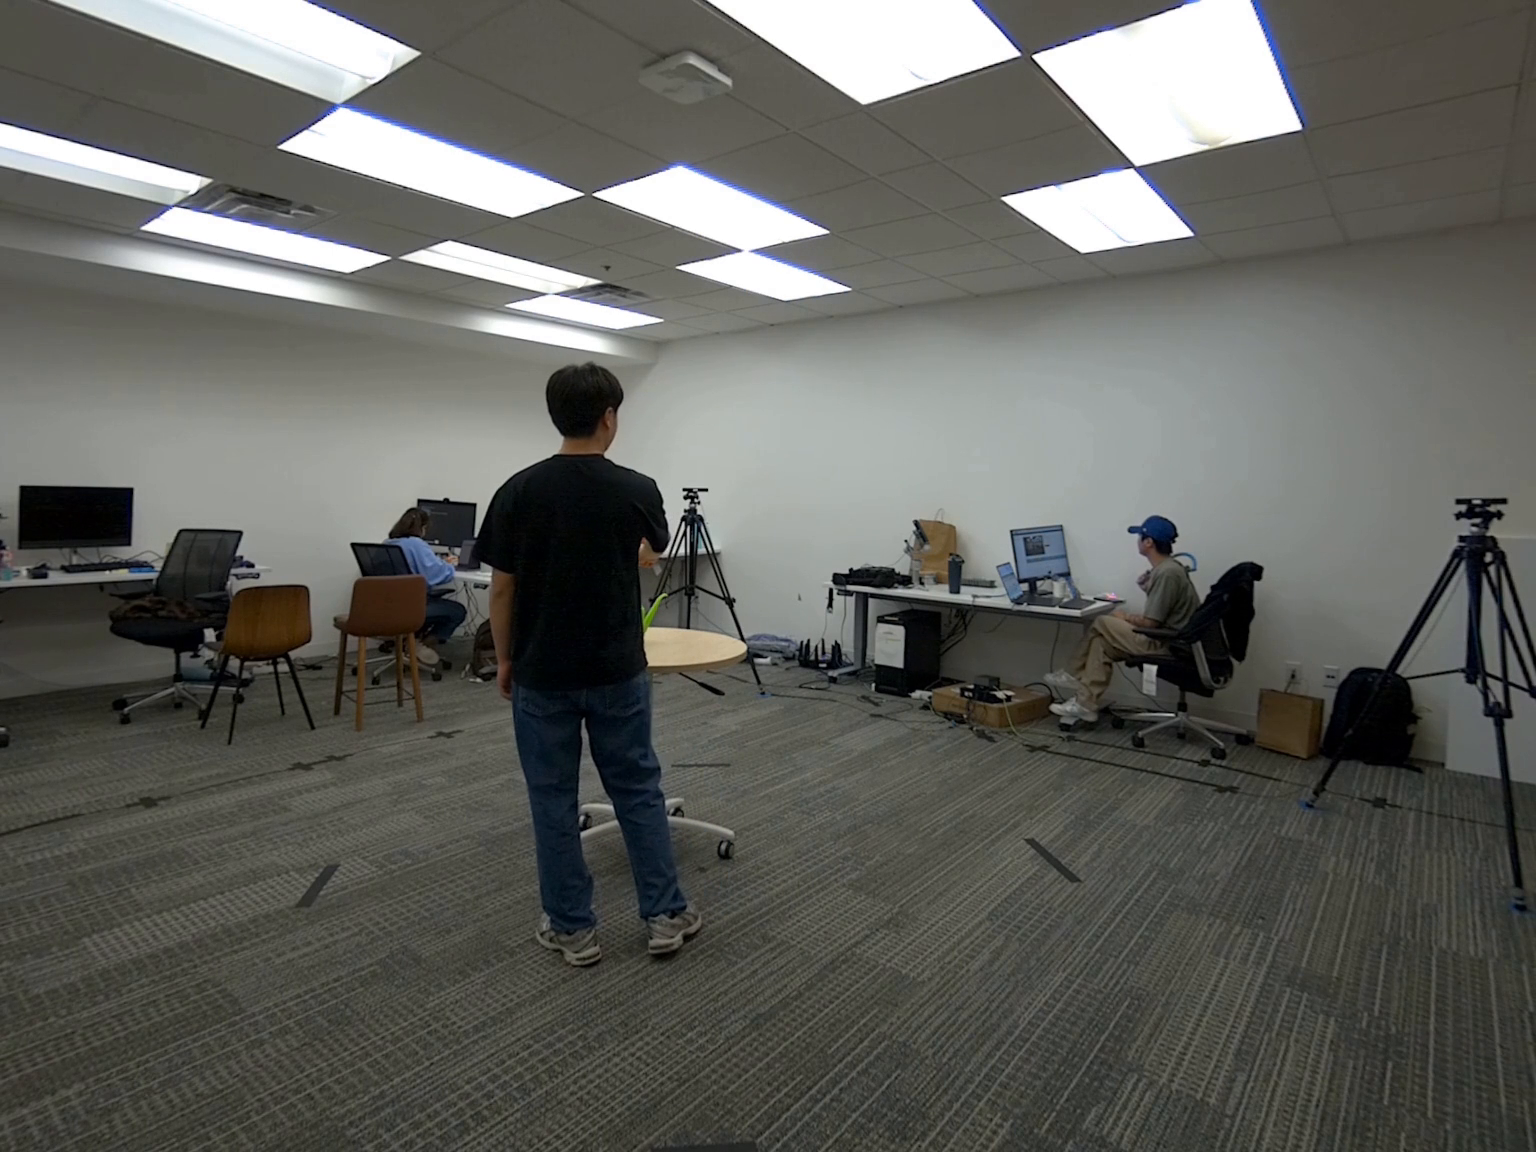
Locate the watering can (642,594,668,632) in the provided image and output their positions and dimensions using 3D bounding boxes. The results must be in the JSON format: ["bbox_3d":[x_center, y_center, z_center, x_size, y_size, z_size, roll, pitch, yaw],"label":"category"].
[{"bbox_3d":[-0.500,0.165,3.241,0.271,0.176,0.101,-3,7,-30],"label":"watering can"}]
